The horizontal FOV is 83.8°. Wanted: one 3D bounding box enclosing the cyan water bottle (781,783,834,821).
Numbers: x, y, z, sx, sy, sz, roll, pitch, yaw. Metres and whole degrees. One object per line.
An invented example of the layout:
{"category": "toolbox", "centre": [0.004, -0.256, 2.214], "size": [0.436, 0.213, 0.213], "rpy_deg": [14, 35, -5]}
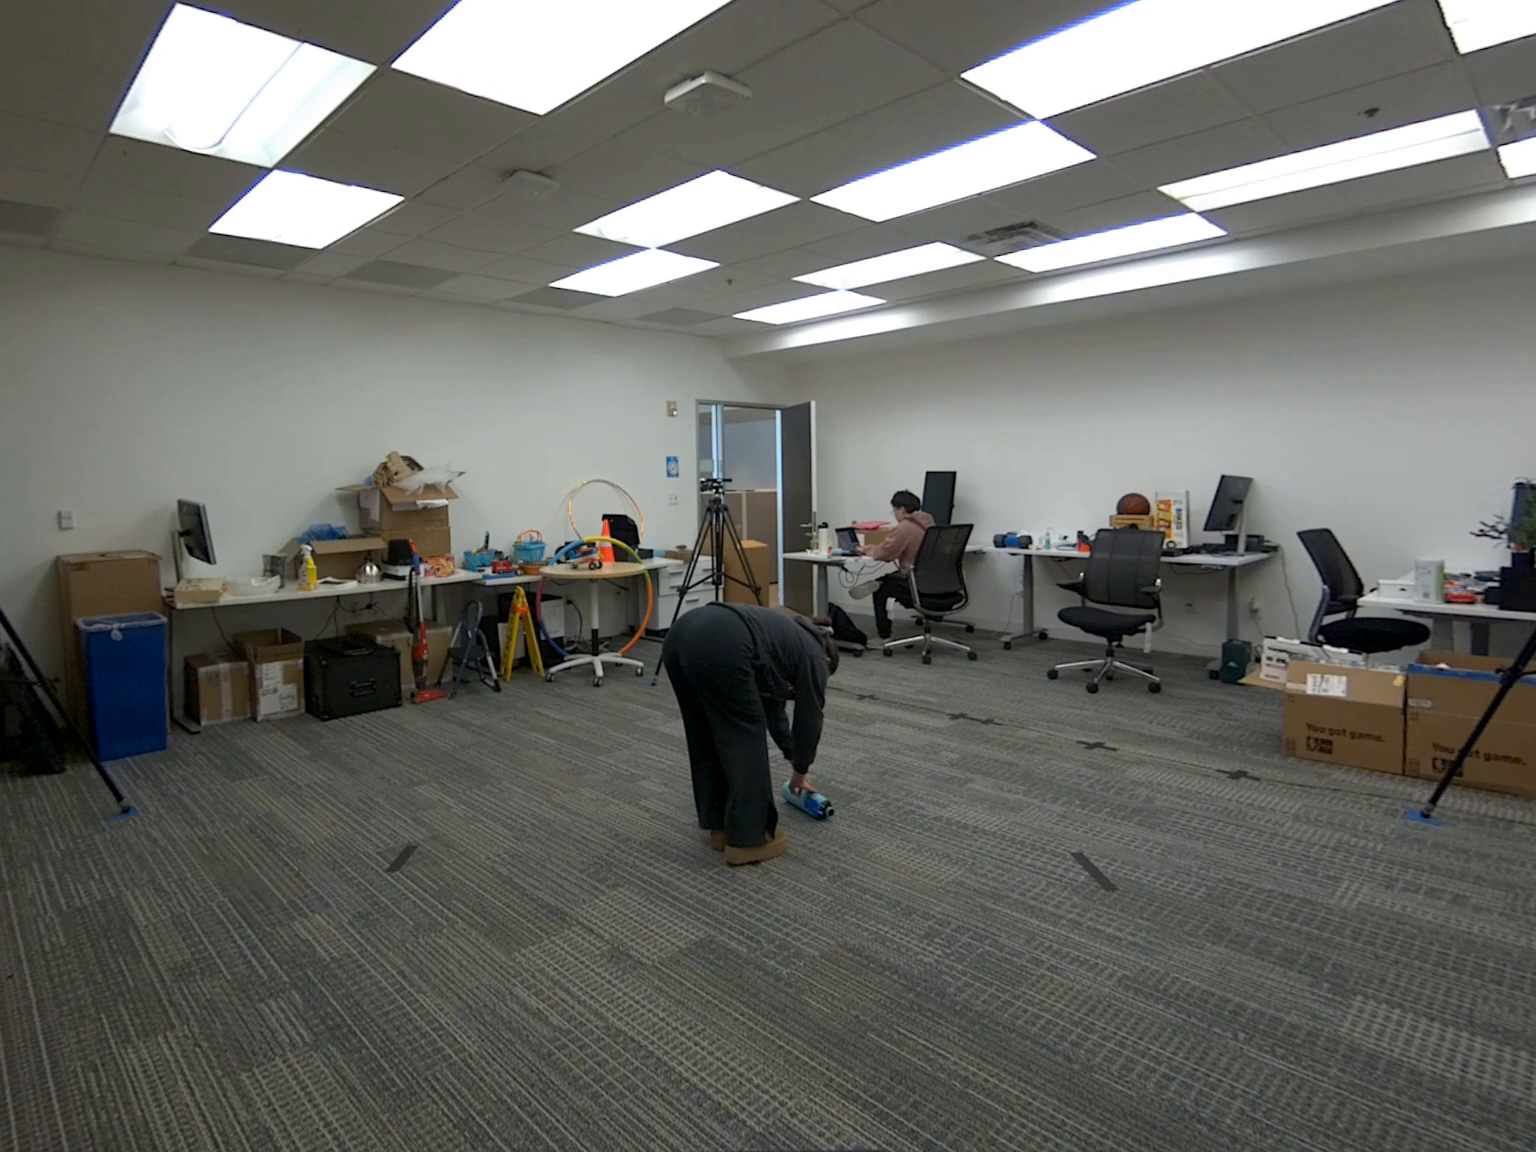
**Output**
{"category": "cyan water bottle", "centre": [0.170, 0.947, 3.575], "size": [0.090, 0.092, 0.291], "rpy_deg": [-3, 7, -29]}
